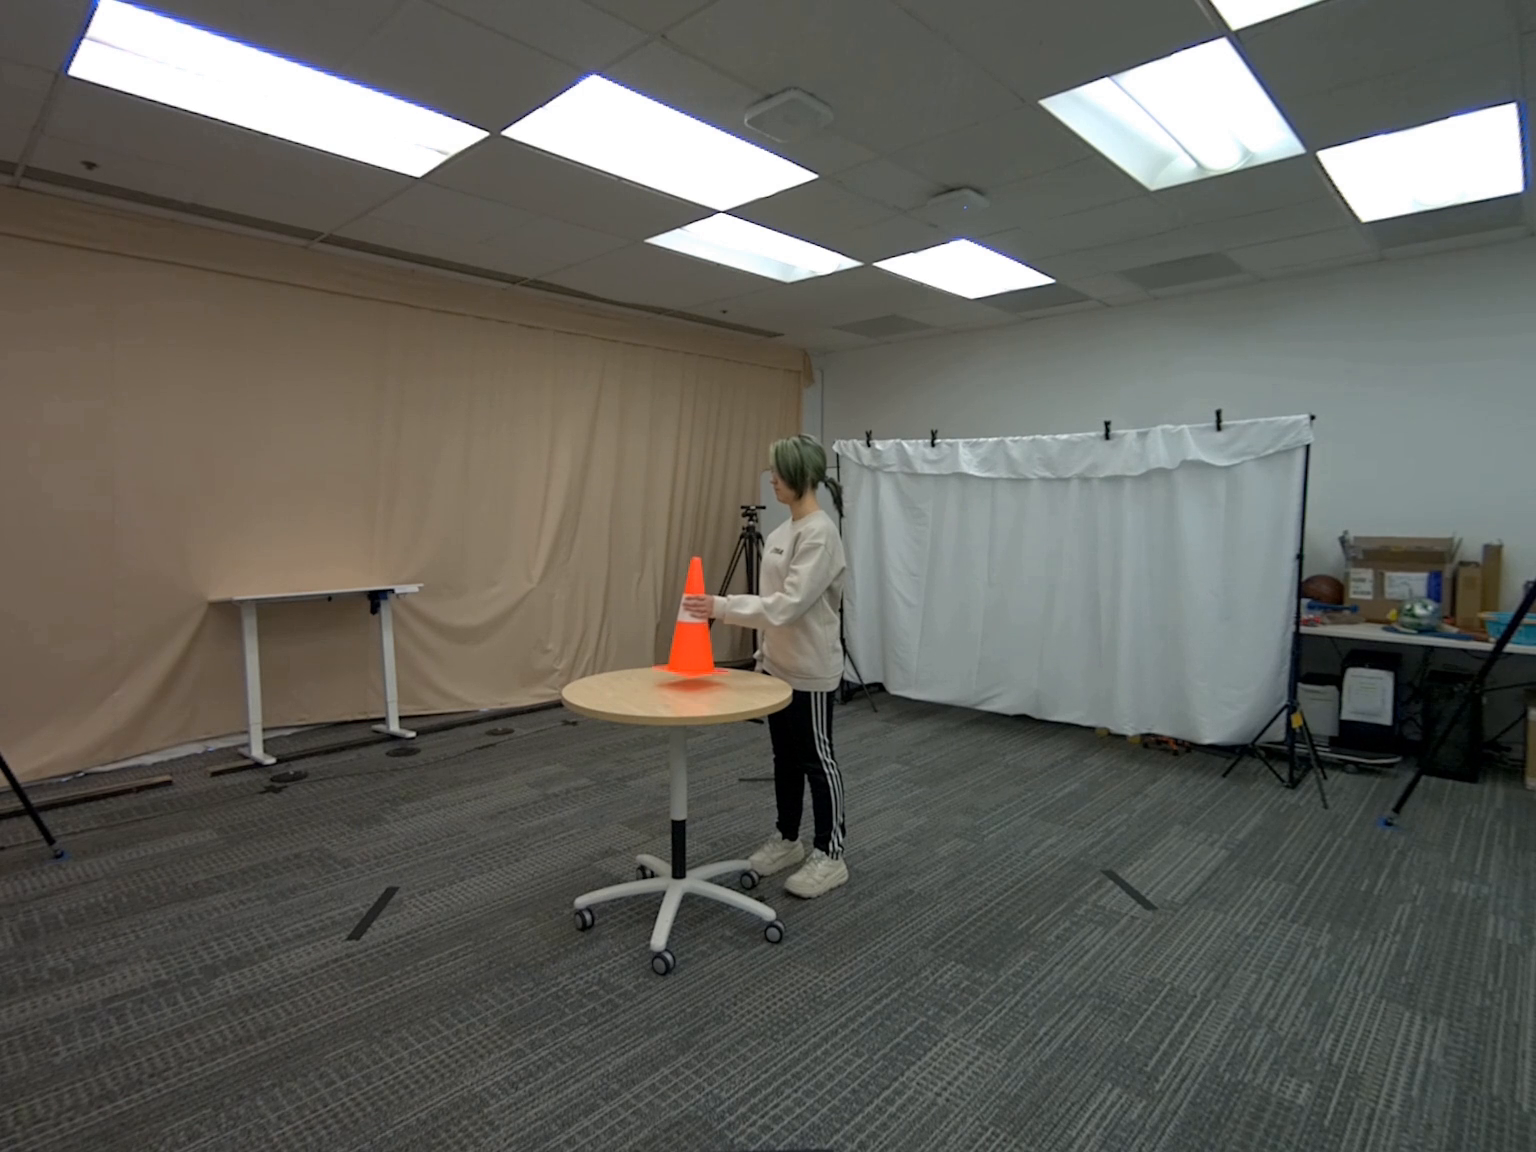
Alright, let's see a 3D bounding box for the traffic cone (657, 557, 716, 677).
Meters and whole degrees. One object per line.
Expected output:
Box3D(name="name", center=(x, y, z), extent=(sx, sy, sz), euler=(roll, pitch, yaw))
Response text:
Box3D(name="traffic cone", center=(-0.252, 0.124, 2.856), extent=(0.211, 0.383, 0.197), euler=(2, 1, 38))
